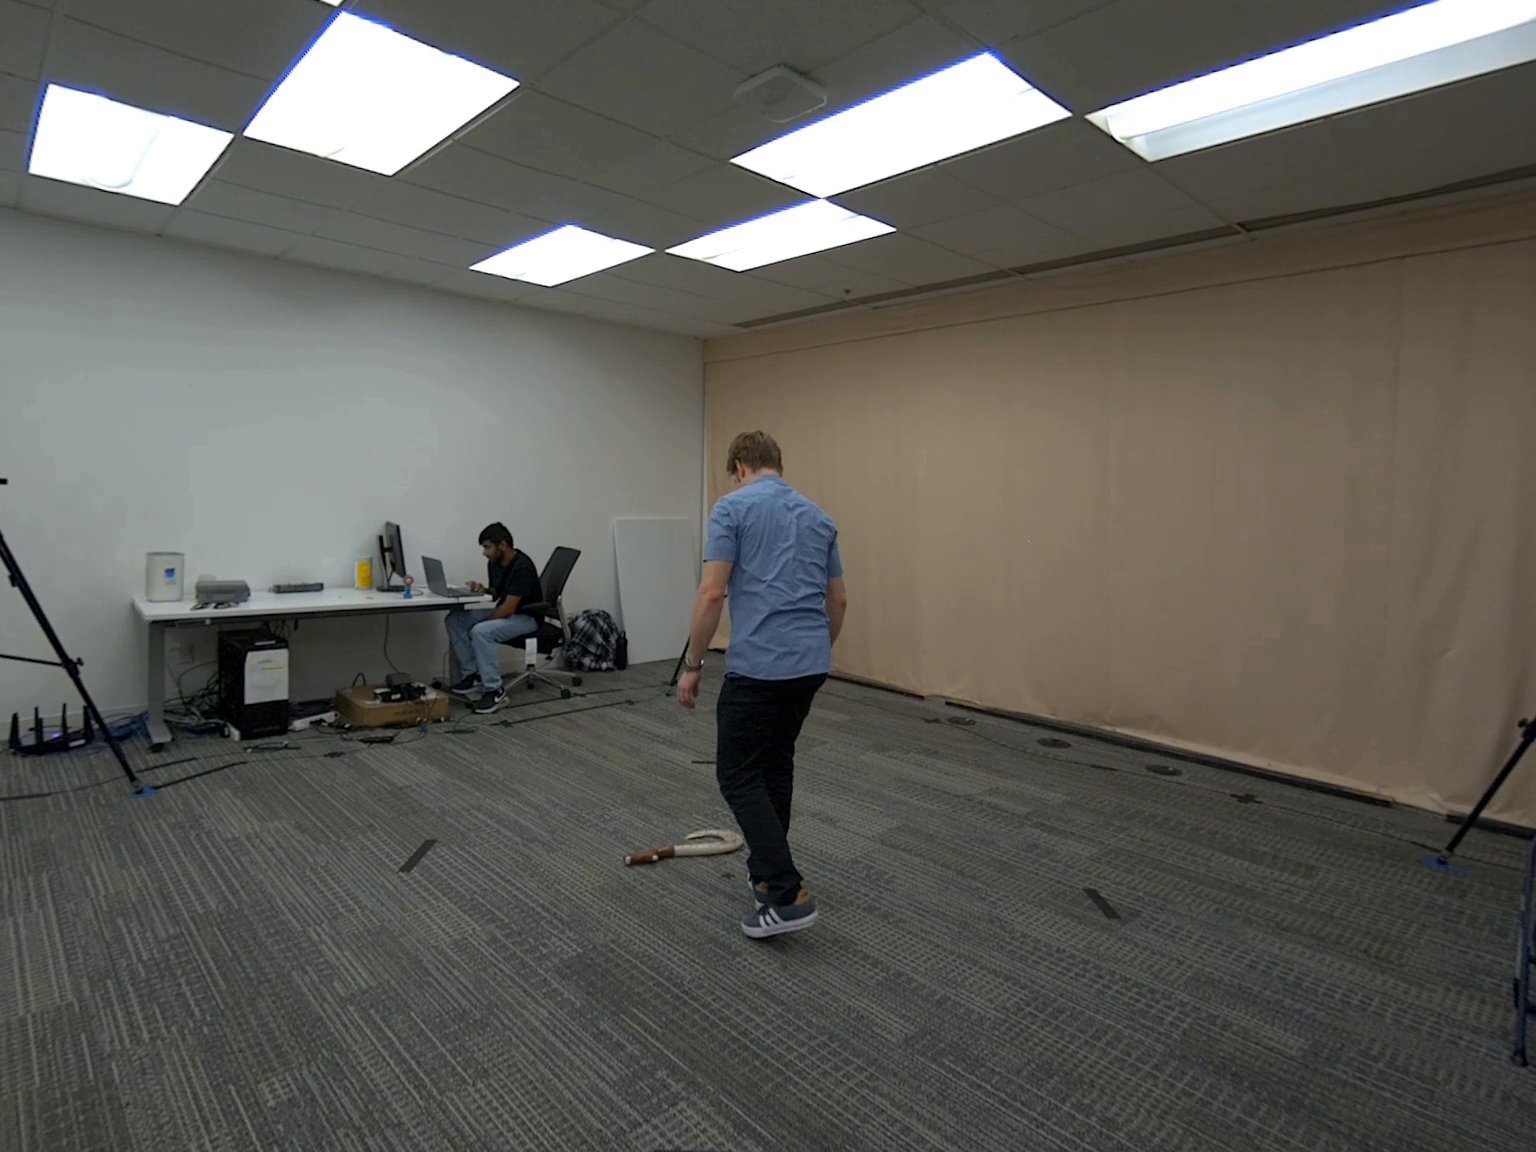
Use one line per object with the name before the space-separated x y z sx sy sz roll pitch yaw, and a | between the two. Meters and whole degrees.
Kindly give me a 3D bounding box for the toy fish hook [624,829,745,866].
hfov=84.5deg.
toy fish hook | -0.352 1.070 3.320 0.497 0.048 0.228 0 -3 -27
